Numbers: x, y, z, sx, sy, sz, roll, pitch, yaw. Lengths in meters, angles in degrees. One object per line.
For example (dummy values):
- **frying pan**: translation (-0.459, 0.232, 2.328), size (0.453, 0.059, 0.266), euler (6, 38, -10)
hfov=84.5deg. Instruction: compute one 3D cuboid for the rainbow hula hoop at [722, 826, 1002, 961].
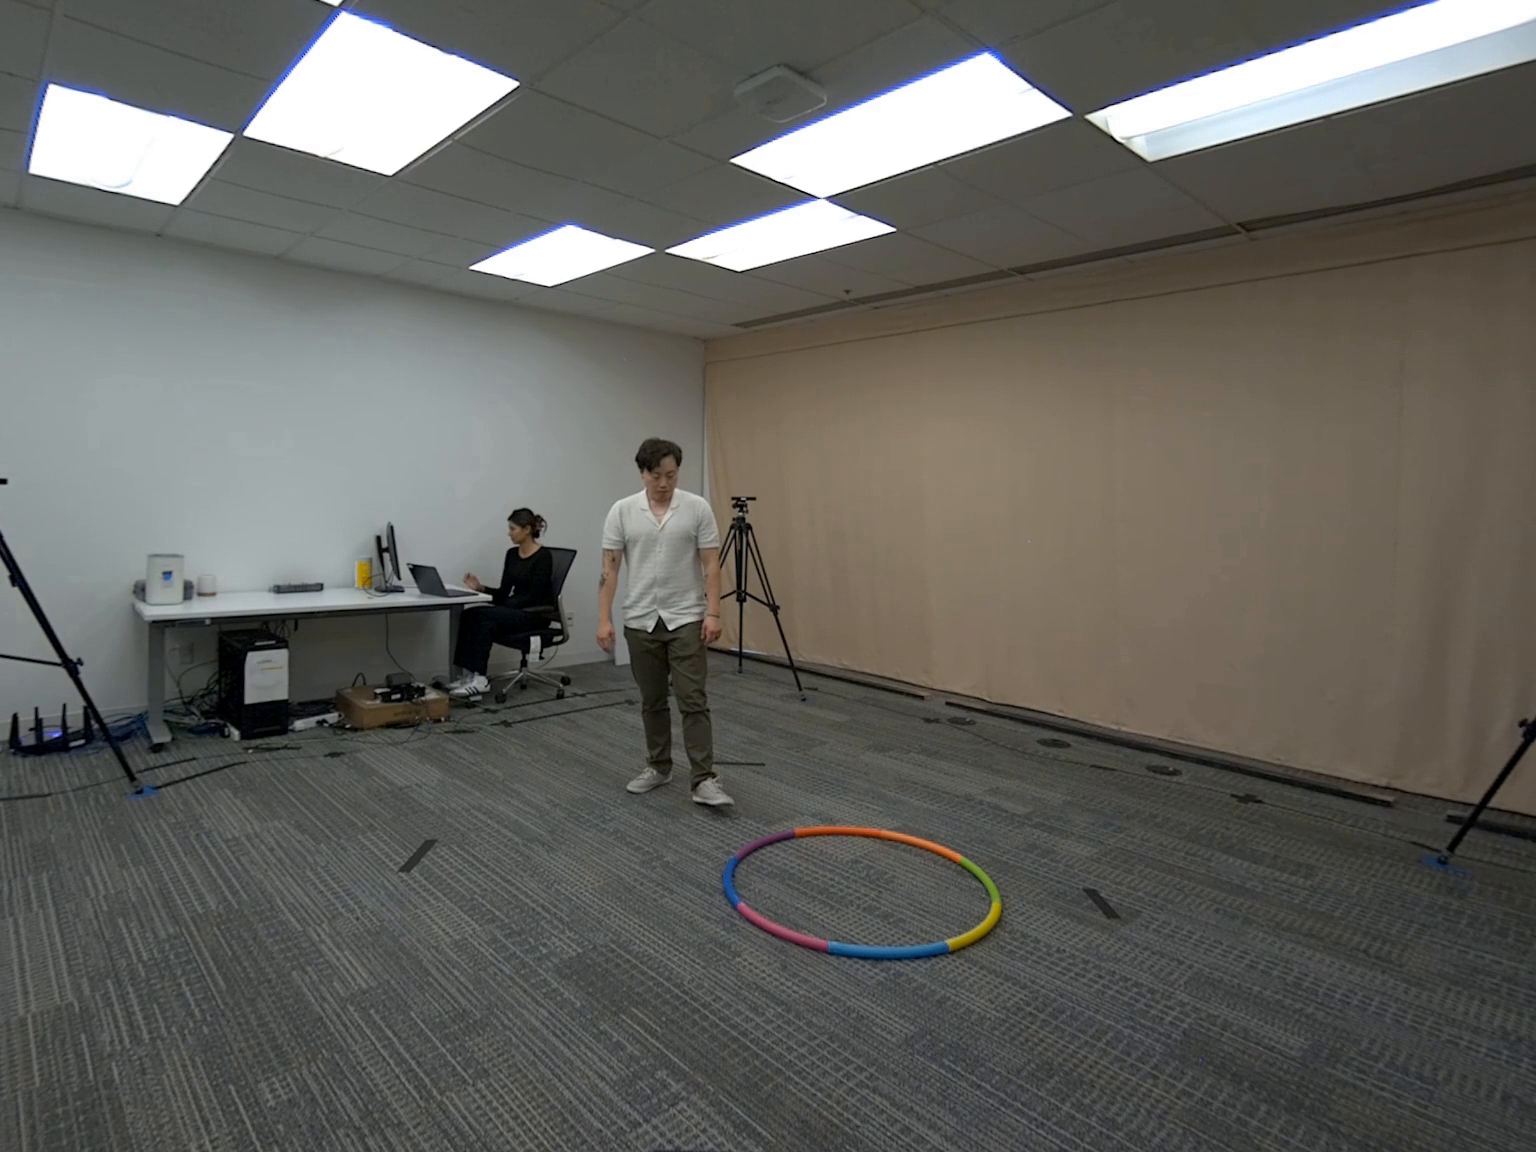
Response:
- **rainbow hula hoop**: translation (0.314, 1.092, 3.044), size (0.978, 0.035, 0.982), euler (1, 5, -1)
